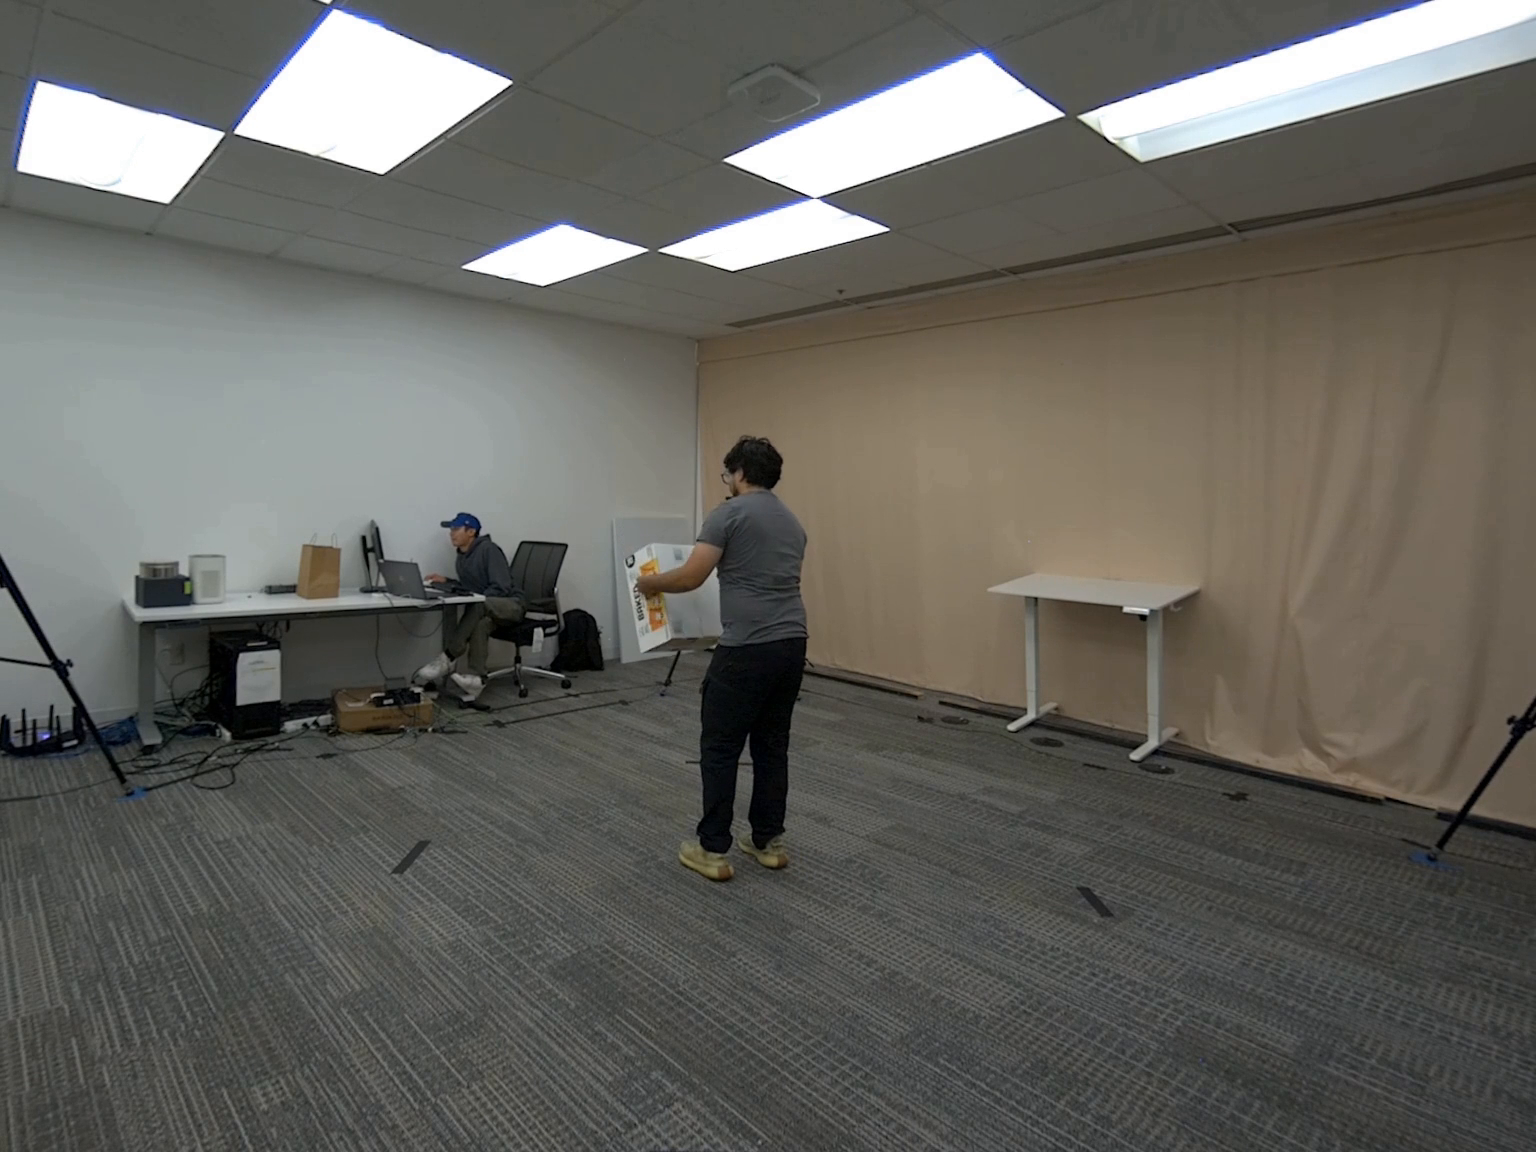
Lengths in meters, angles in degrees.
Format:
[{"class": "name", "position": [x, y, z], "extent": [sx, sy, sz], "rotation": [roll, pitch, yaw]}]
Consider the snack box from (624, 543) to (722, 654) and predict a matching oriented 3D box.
[{"class": "snack box", "position": [-0.378, 0.092, 3.502], "extent": [0.332, 0.411, 0.208], "rotation": [3, -23, -45]}]
